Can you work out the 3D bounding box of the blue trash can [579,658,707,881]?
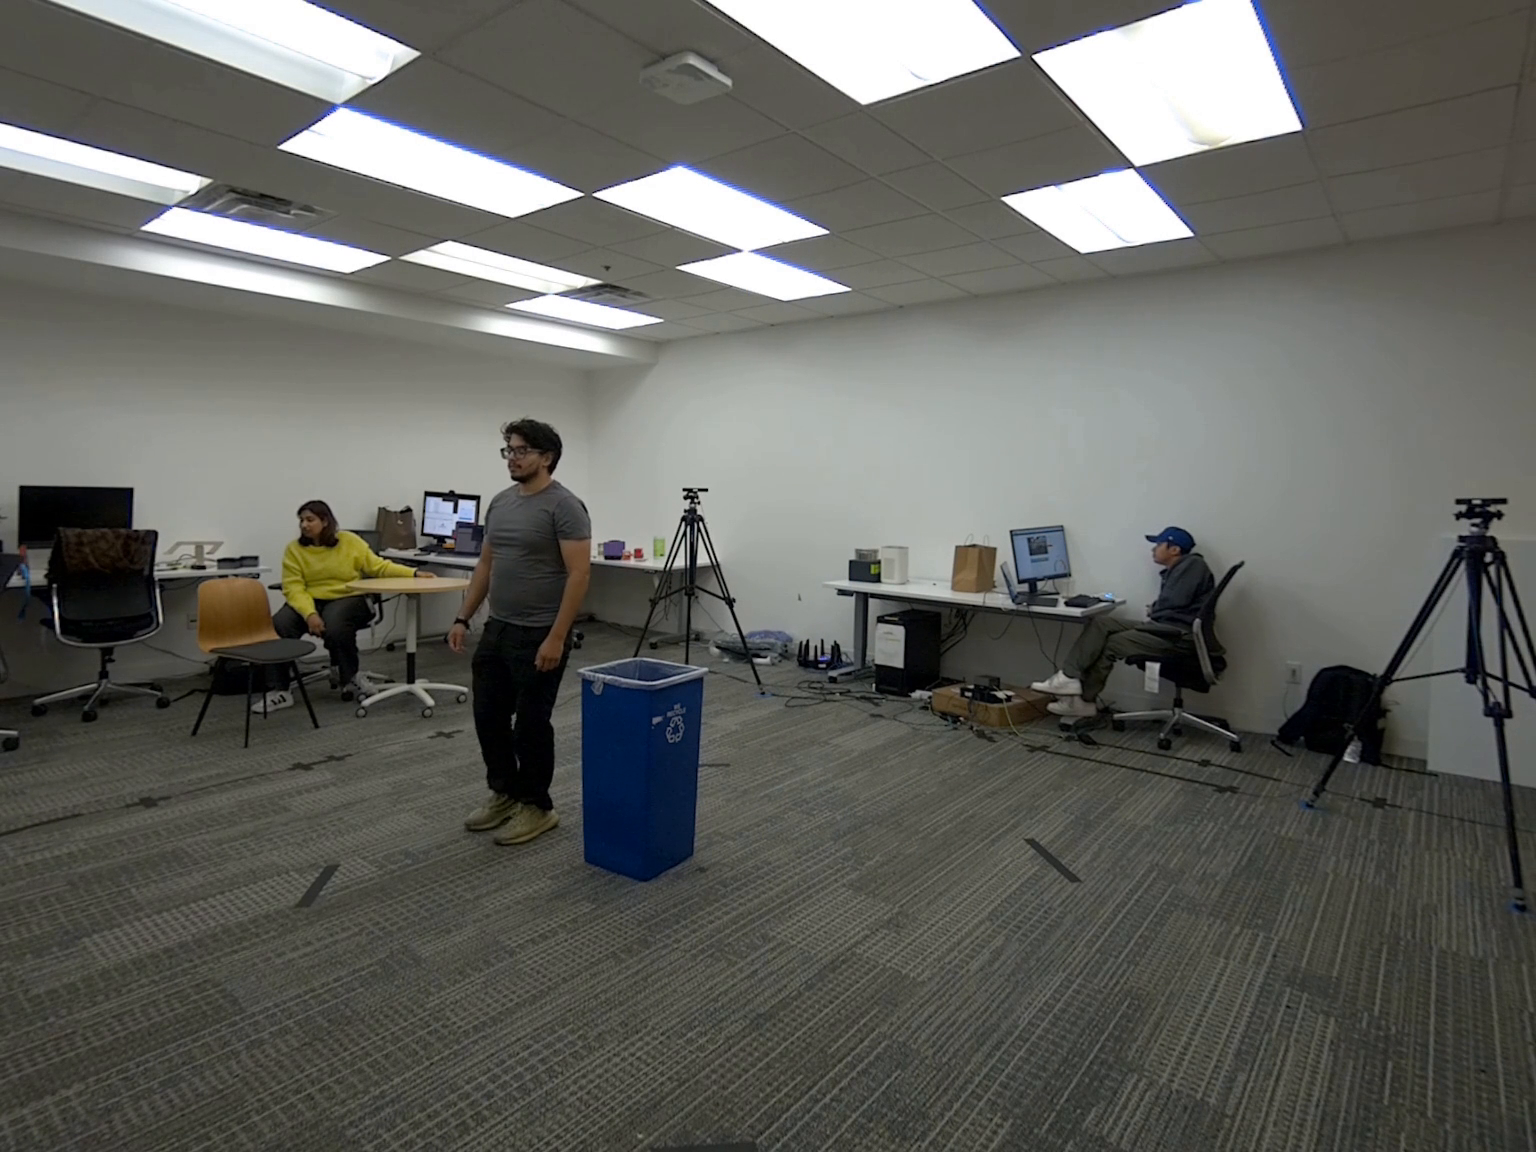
[{"bbox_3d":[-0.482,0.700,3.187,0.390,0.711,0.364,3,4,32],"label":"blue trash can"}]
